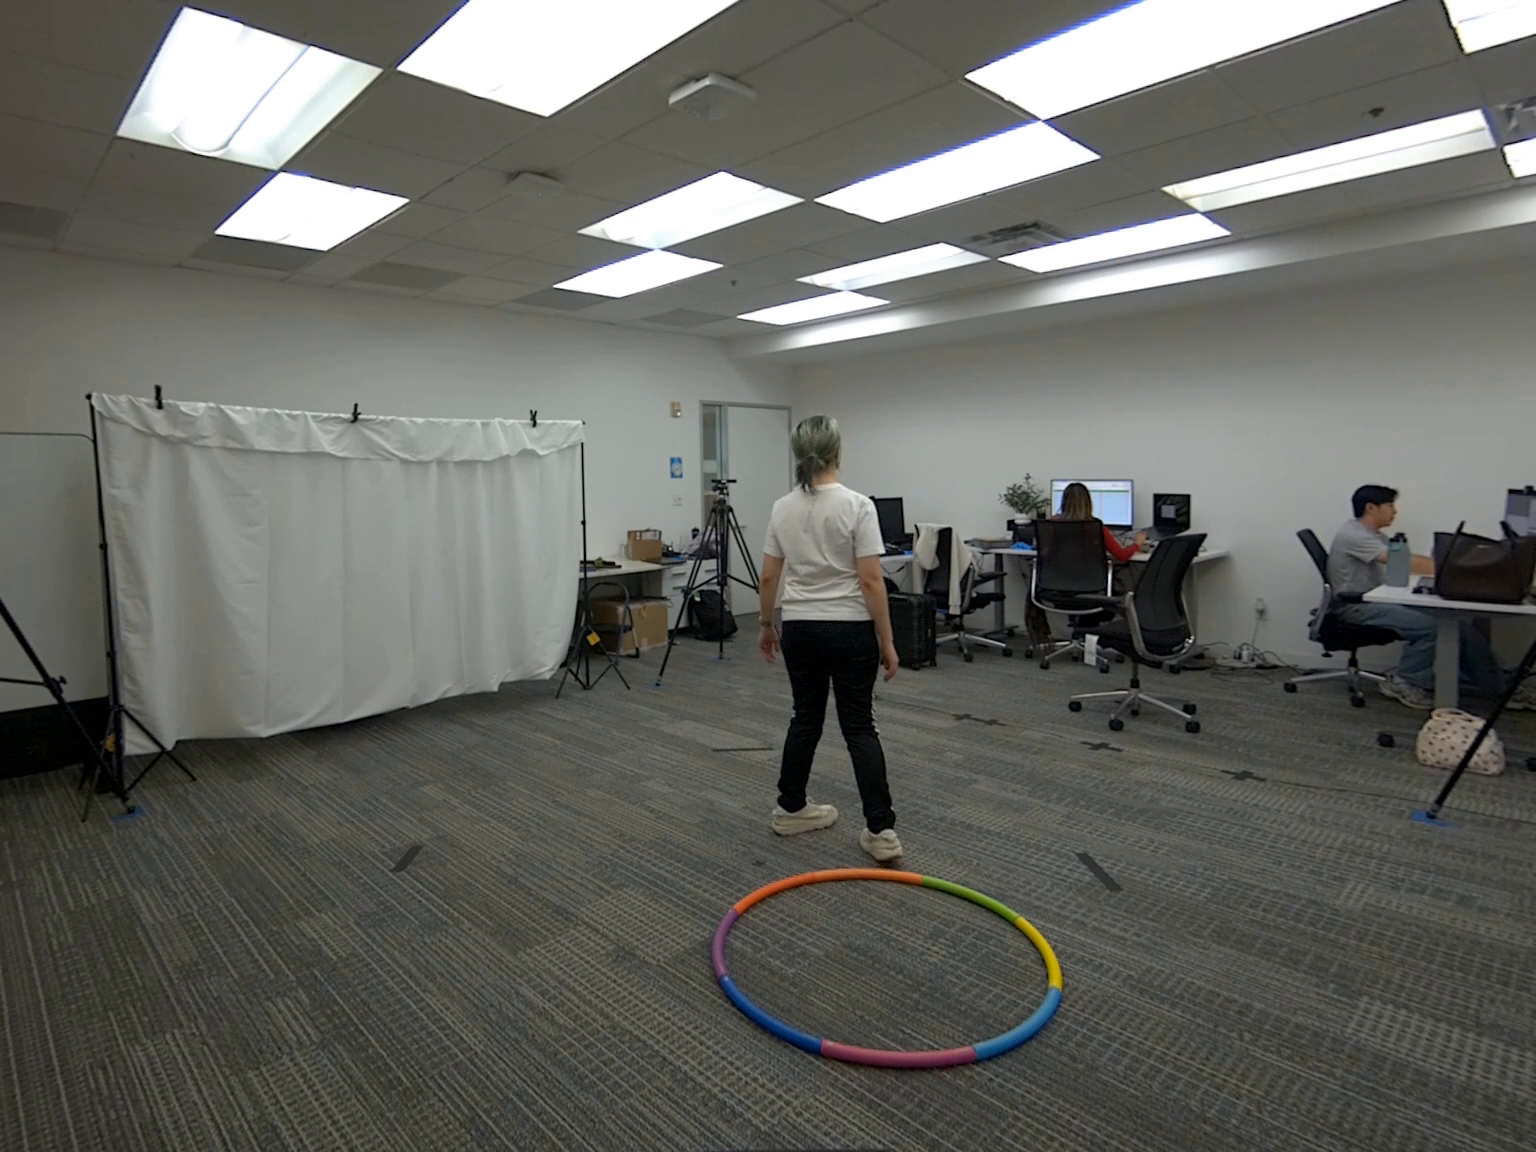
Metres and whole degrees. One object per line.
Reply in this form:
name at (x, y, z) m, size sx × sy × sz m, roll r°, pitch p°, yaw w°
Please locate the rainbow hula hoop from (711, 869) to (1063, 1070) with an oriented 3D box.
rainbow hula hoop at (0.330, 1.084, 2.501) m, size 0.985 × 0.051 × 0.990 m, roll -2°, pitch 6°, yaw -2°
